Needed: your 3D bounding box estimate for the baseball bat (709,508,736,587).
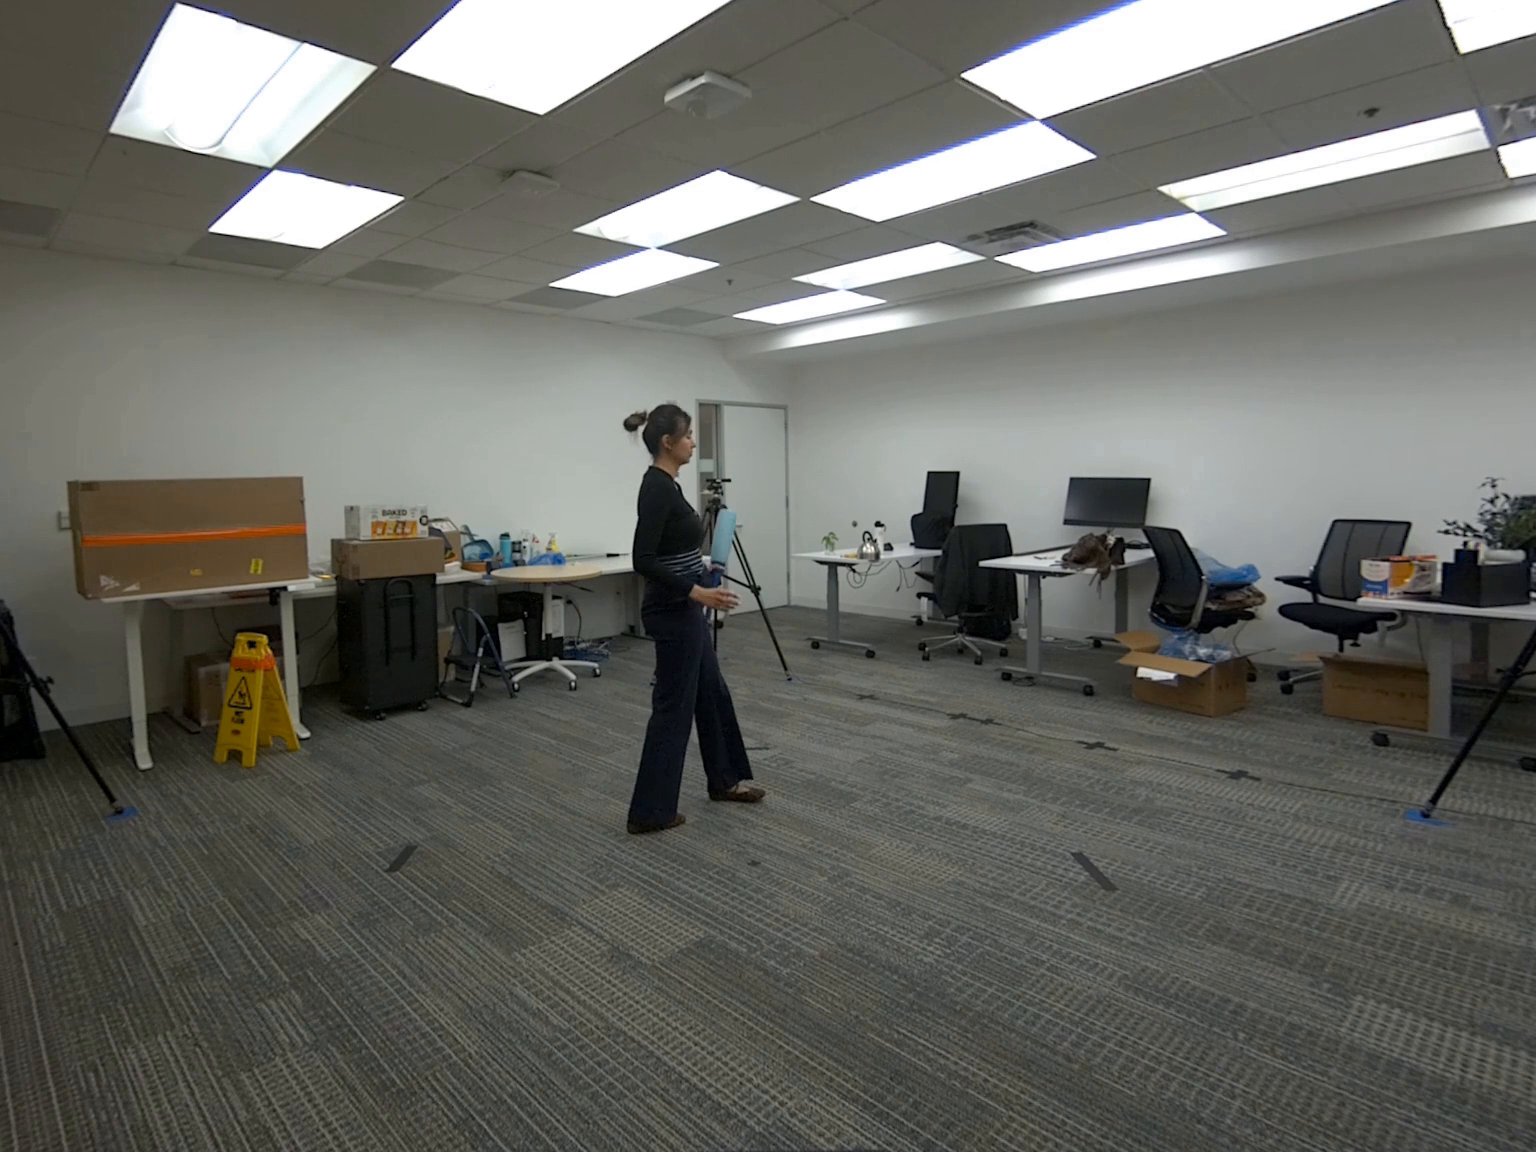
[{"bbox_3d":[-0.220,-0.040,3.822,0.089,0.549,0.088,8,-16,0],"label":"baseball bat"}]
